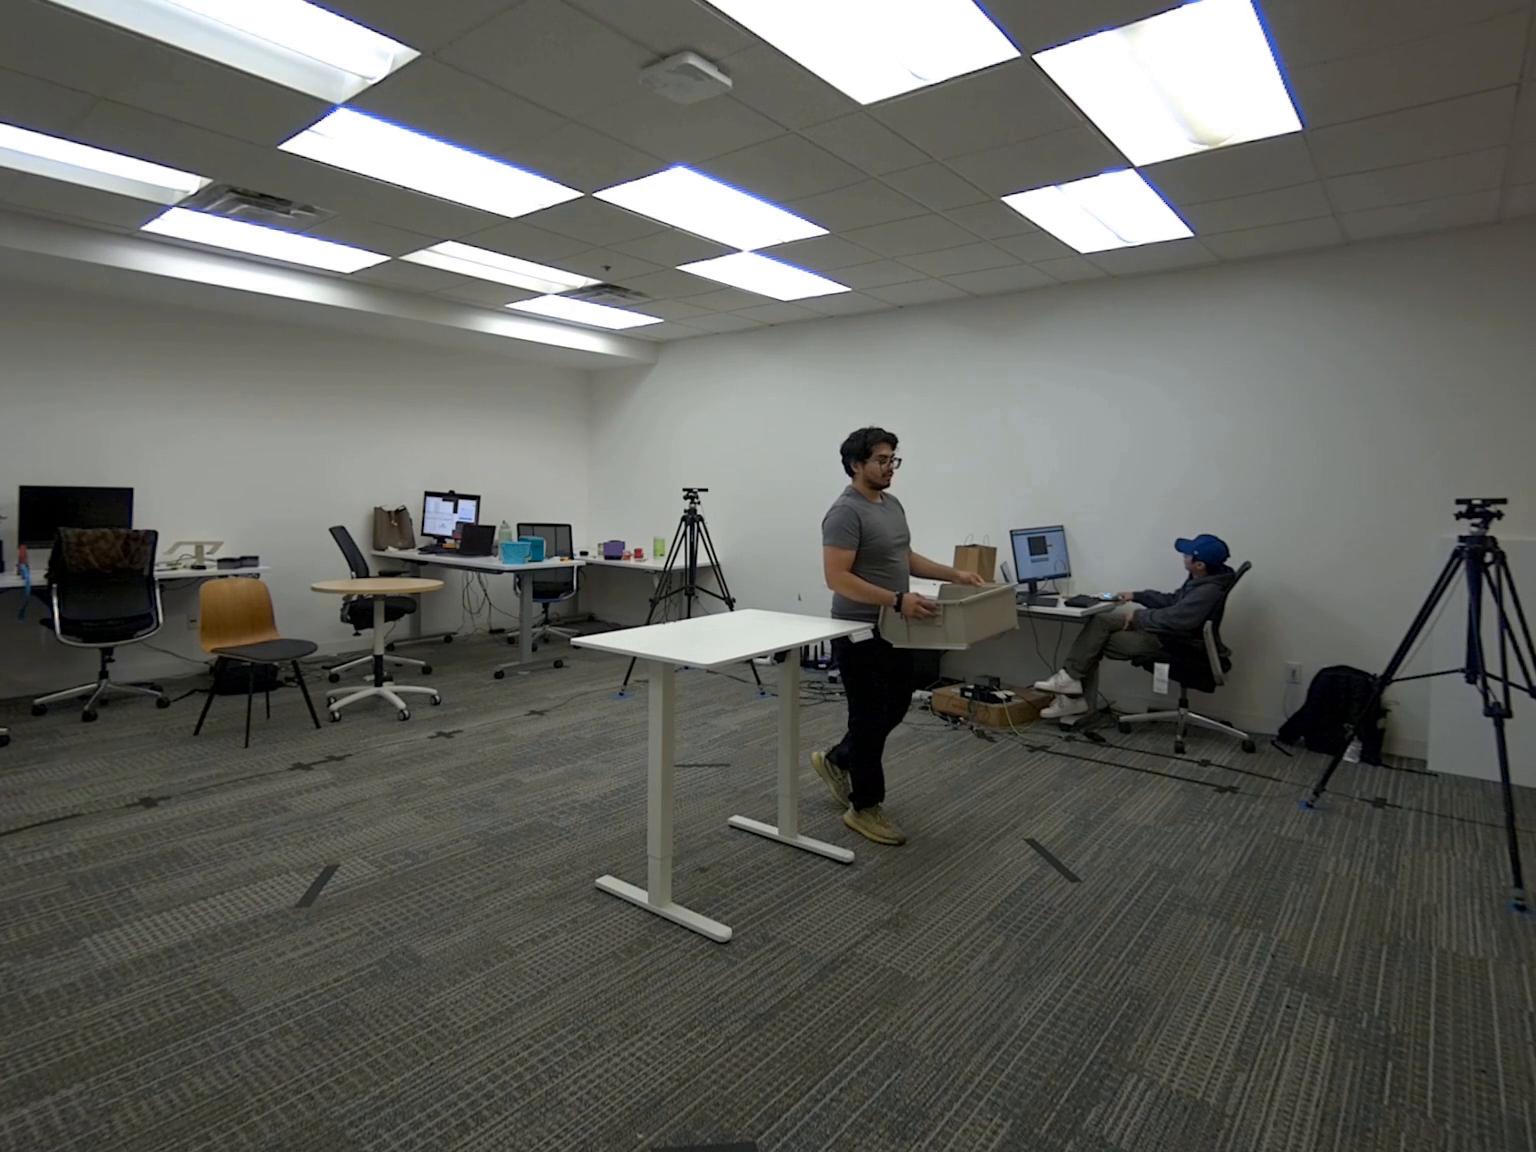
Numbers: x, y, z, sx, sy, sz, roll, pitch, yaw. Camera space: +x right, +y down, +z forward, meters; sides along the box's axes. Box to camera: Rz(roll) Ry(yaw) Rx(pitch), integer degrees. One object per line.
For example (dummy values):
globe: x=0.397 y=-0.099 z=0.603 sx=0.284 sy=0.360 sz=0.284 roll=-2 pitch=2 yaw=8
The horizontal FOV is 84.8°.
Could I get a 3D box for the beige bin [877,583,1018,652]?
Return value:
beige bin: x=0.689 y=0.148 z=3.305 sx=0.411 sy=0.188 sz=0.389 roll=-9 pitch=8 yaw=-44
